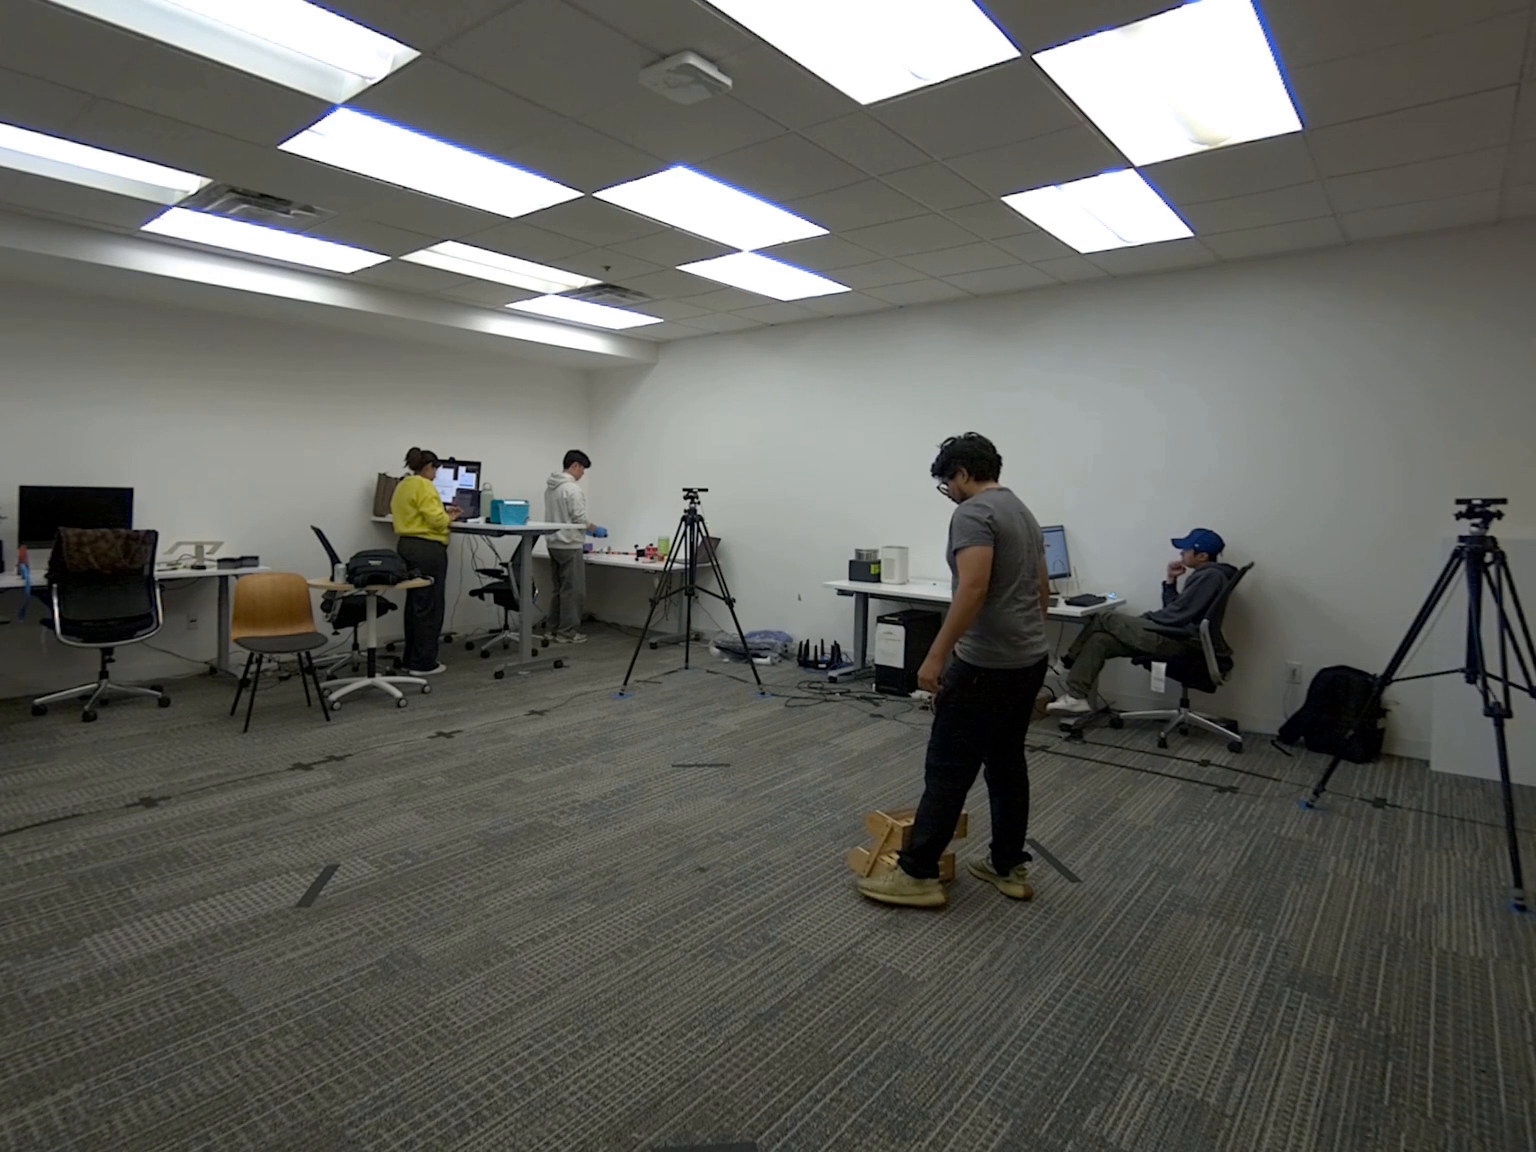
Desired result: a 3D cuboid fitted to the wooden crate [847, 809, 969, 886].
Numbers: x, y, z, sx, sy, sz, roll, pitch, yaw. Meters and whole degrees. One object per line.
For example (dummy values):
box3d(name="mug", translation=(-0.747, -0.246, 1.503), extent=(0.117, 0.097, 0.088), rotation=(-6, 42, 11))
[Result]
box3d(name="wooden crate", translation=(0.497, 0.952, 3.107), extent=(0.316, 0.272, 0.311), rotation=(-1, 6, -29))
